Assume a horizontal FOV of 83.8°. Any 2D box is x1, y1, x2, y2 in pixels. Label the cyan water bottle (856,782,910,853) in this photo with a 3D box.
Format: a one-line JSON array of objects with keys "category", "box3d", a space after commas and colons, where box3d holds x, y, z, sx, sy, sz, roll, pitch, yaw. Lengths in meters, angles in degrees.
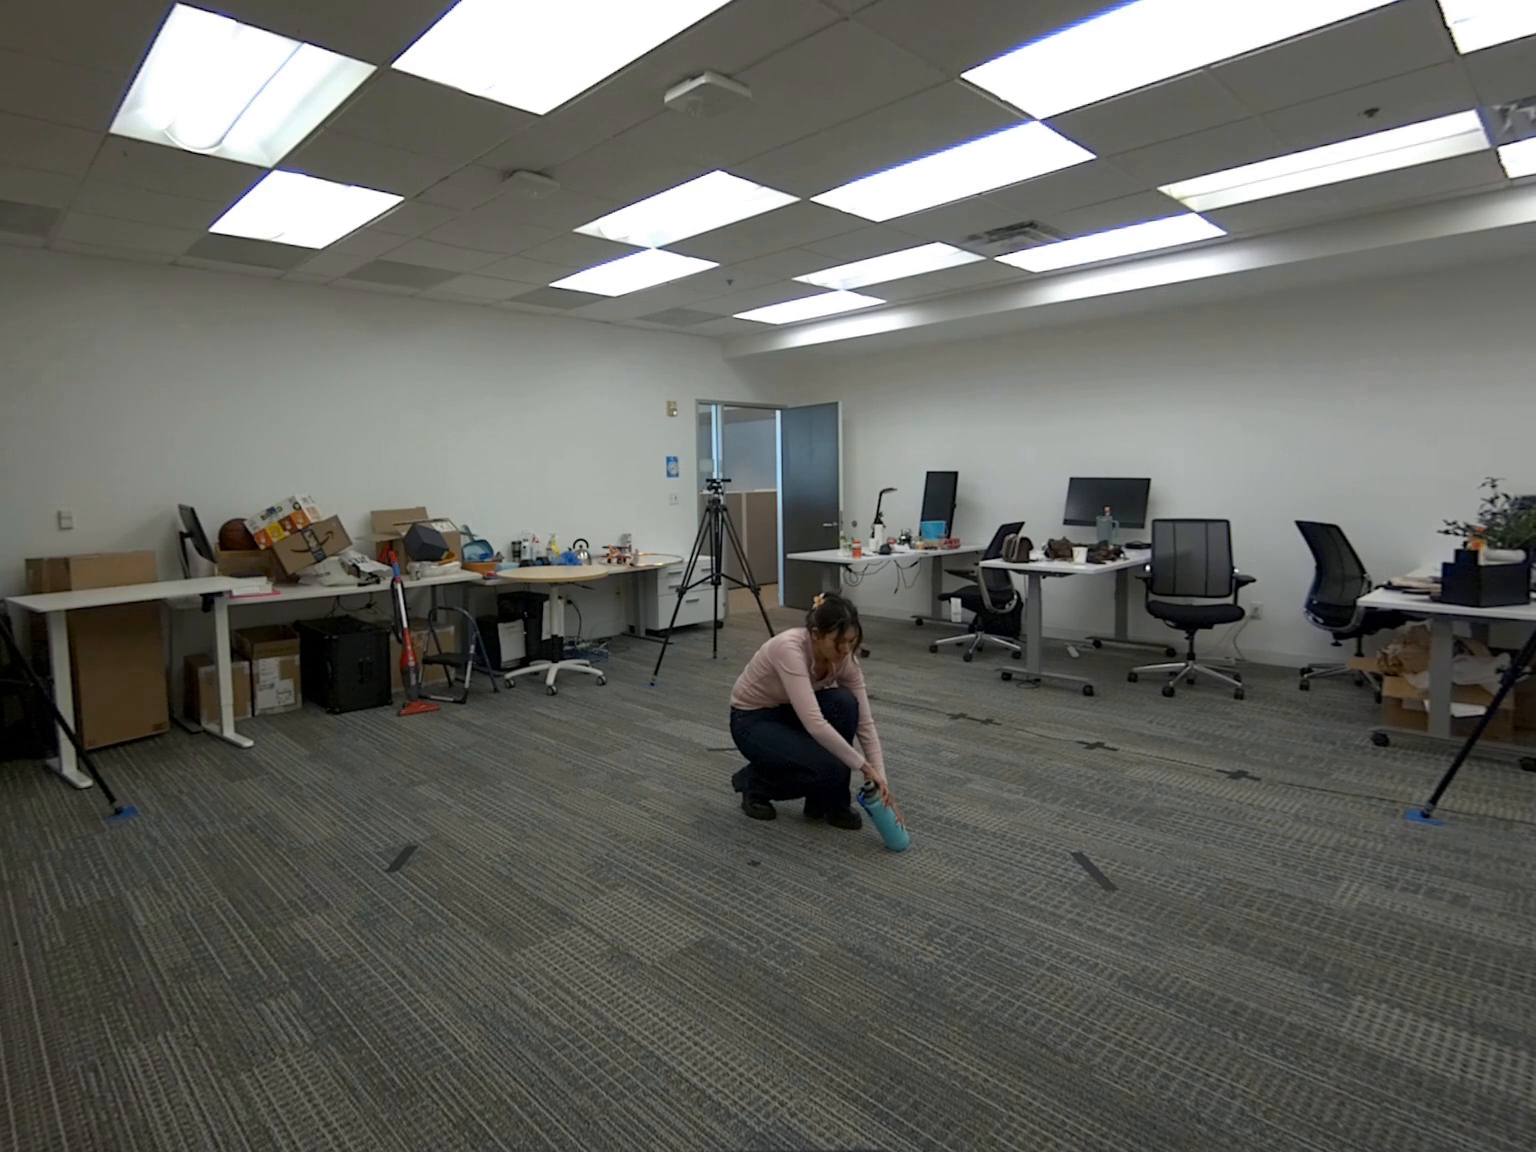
[{"category": "cyan water bottle", "box3d": [0.429, 0.900, 3.184, 0.093, 0.277, 0.094, -28, 17, 9]}]
